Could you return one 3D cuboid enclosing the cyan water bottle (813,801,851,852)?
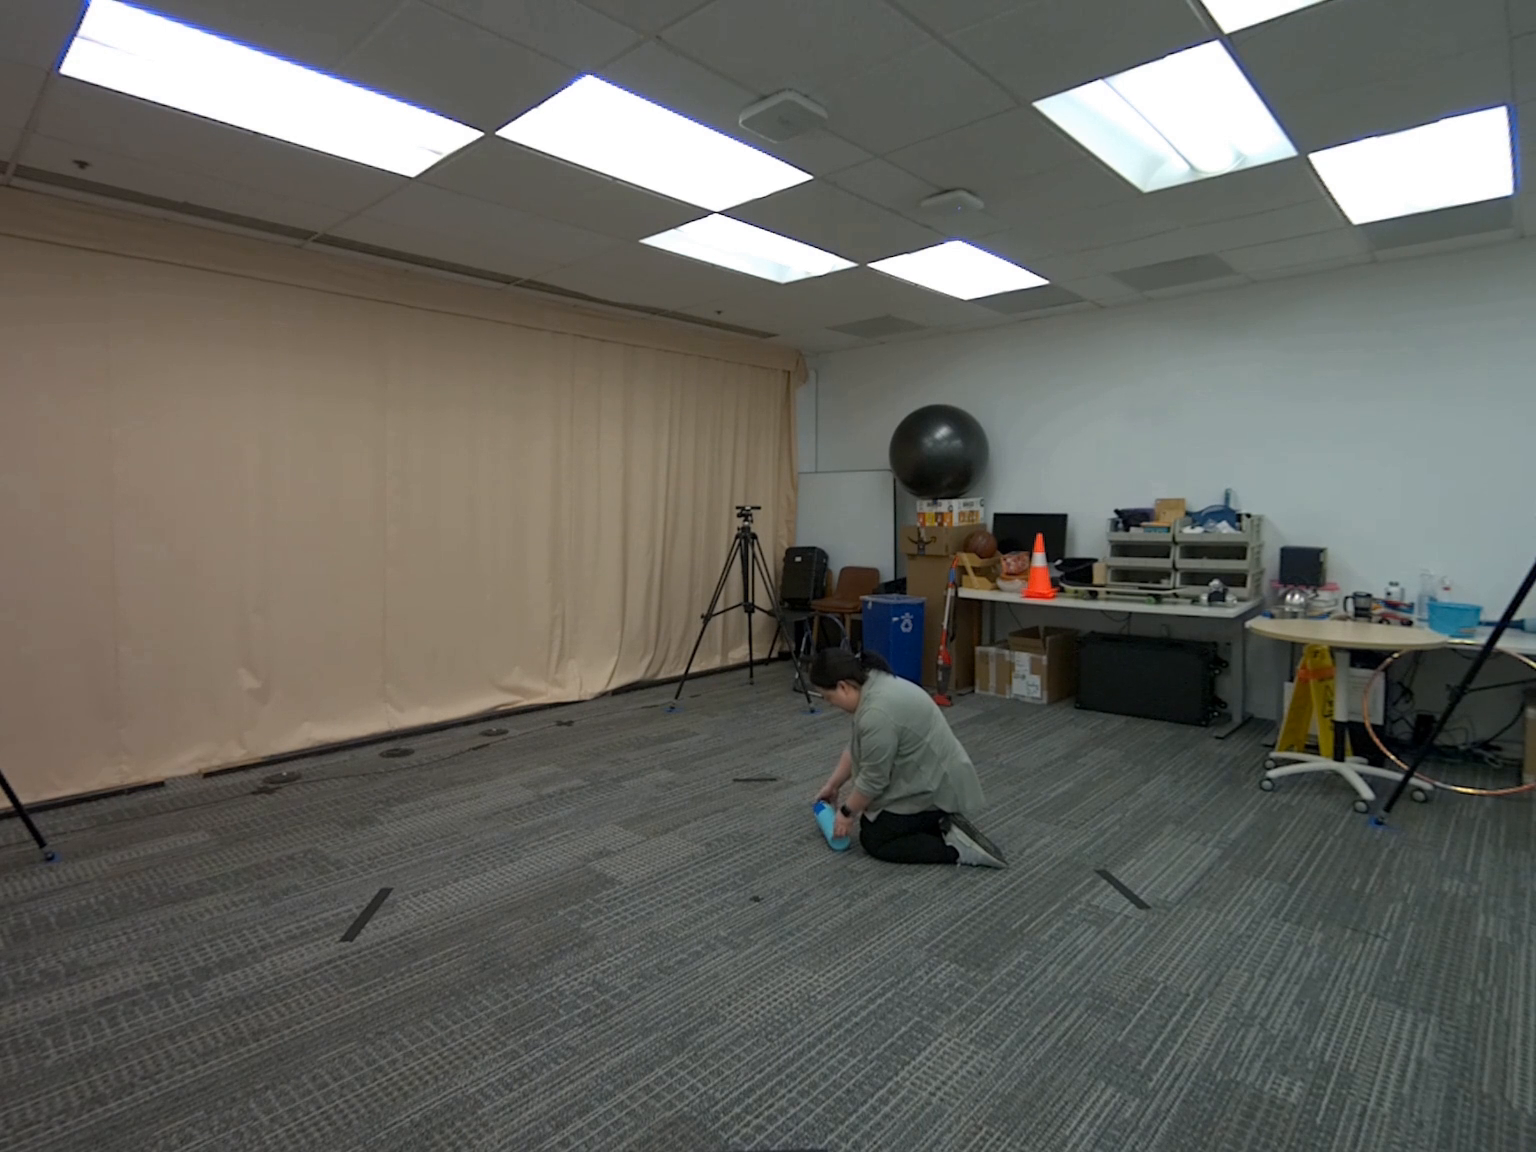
[{"bbox_3d":[0.261,1.025,3.523,0.091,0.092,0.288,-1,12,-12],"label":"cyan water bottle"}]
